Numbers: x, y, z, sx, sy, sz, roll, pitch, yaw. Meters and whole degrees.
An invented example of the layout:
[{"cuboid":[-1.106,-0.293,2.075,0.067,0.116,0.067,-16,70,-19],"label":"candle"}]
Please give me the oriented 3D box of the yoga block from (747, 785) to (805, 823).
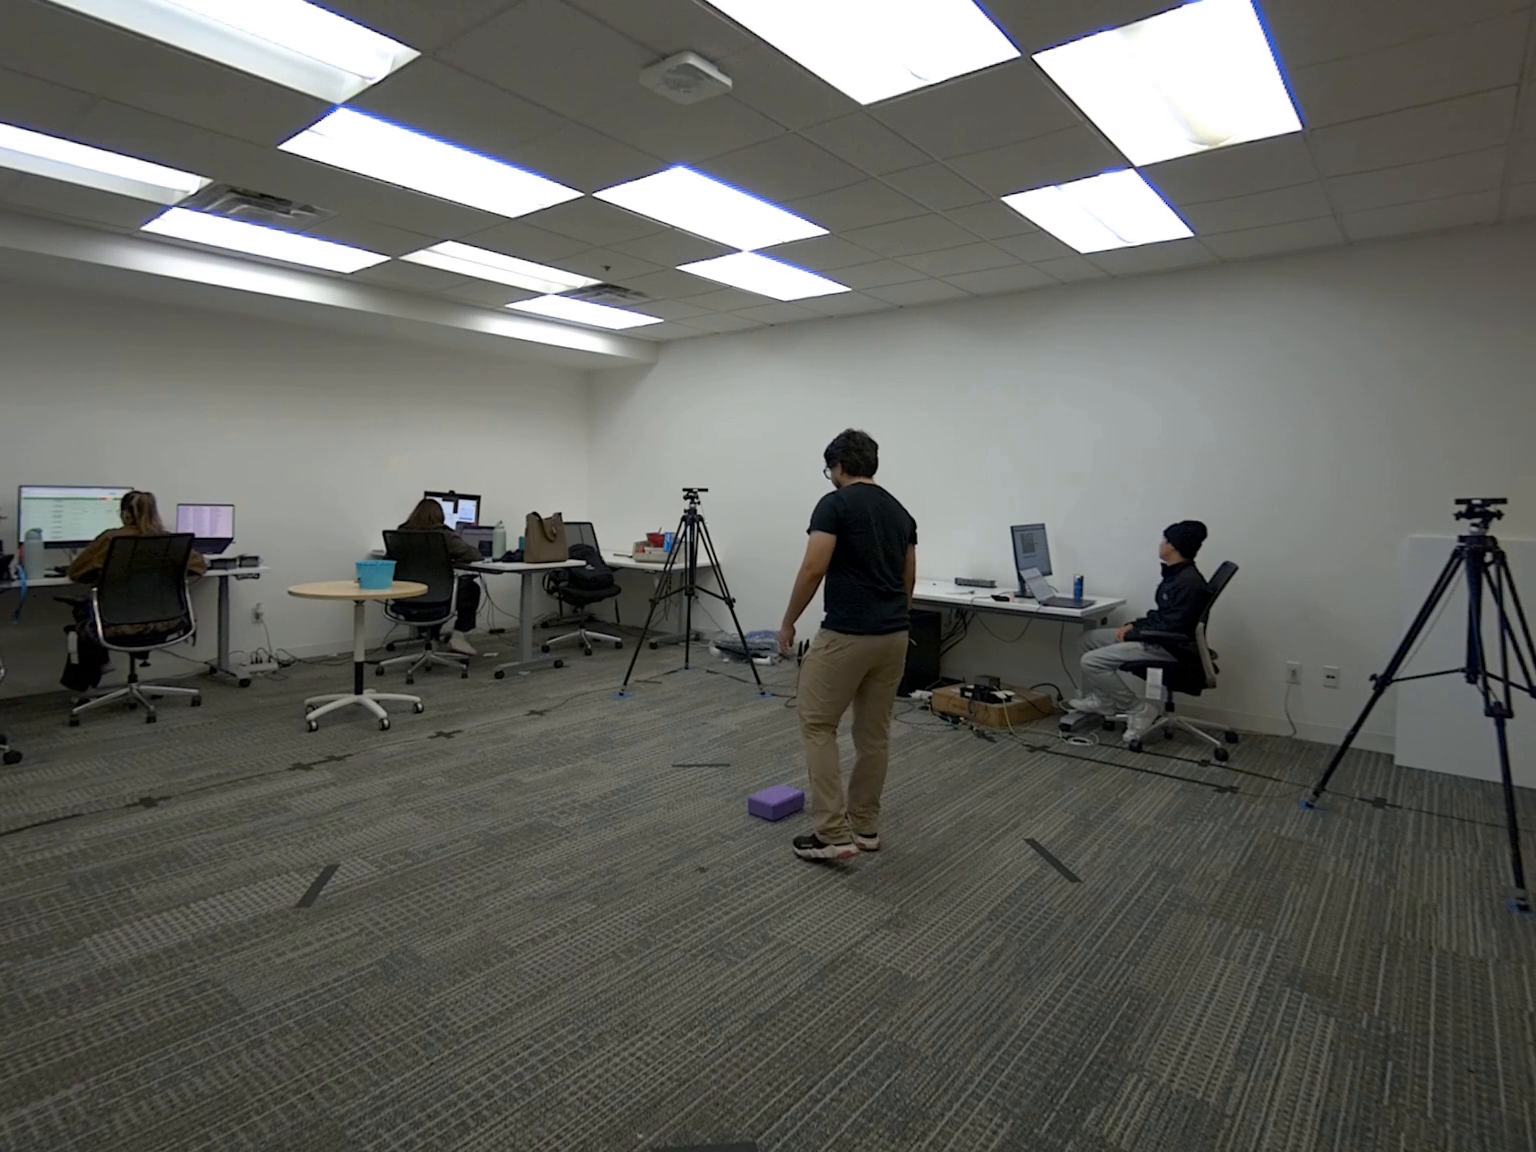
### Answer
[{"cuboid":[0.029,0.978,3.693,0.154,0.076,0.222,4,6,39],"label":"yoga block"}]
